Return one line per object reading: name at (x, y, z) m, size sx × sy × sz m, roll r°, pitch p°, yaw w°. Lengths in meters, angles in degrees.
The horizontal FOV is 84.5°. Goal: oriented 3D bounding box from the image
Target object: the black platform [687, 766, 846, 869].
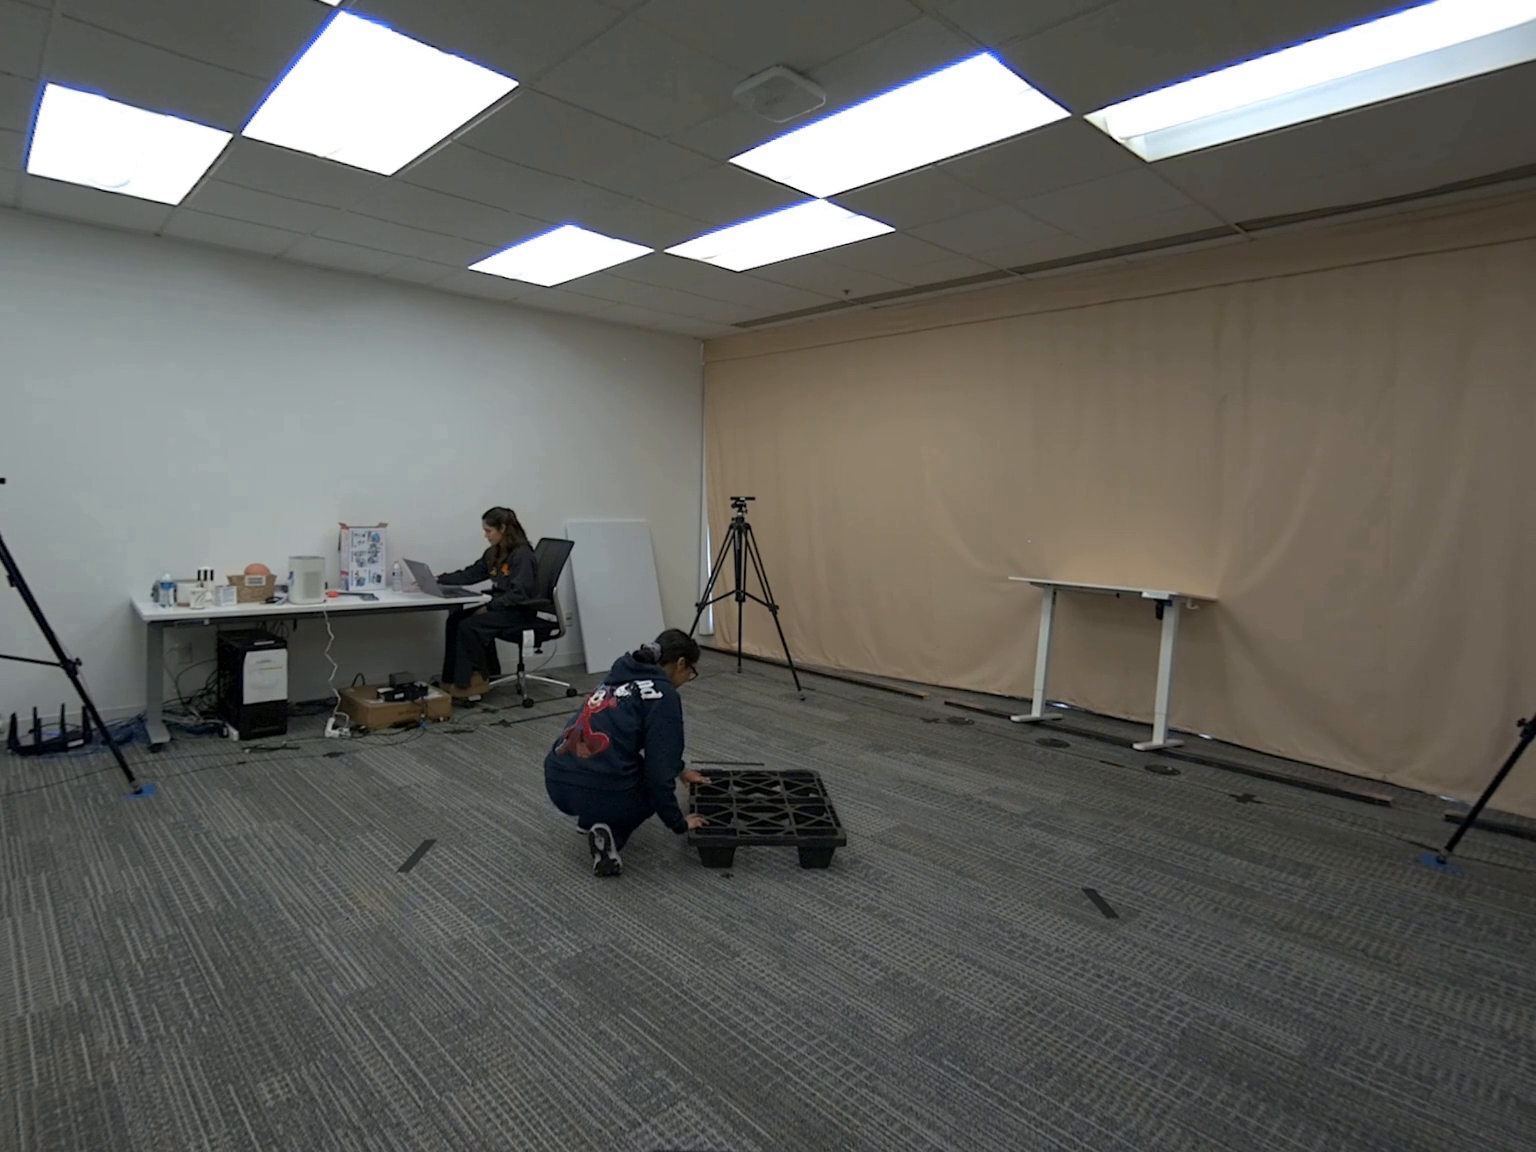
black platform at (-0.054, 1.002, 3.527) m, size 0.603 × 0.143 × 0.810 m, roll 0°, pitch 5°, yaw -4°
